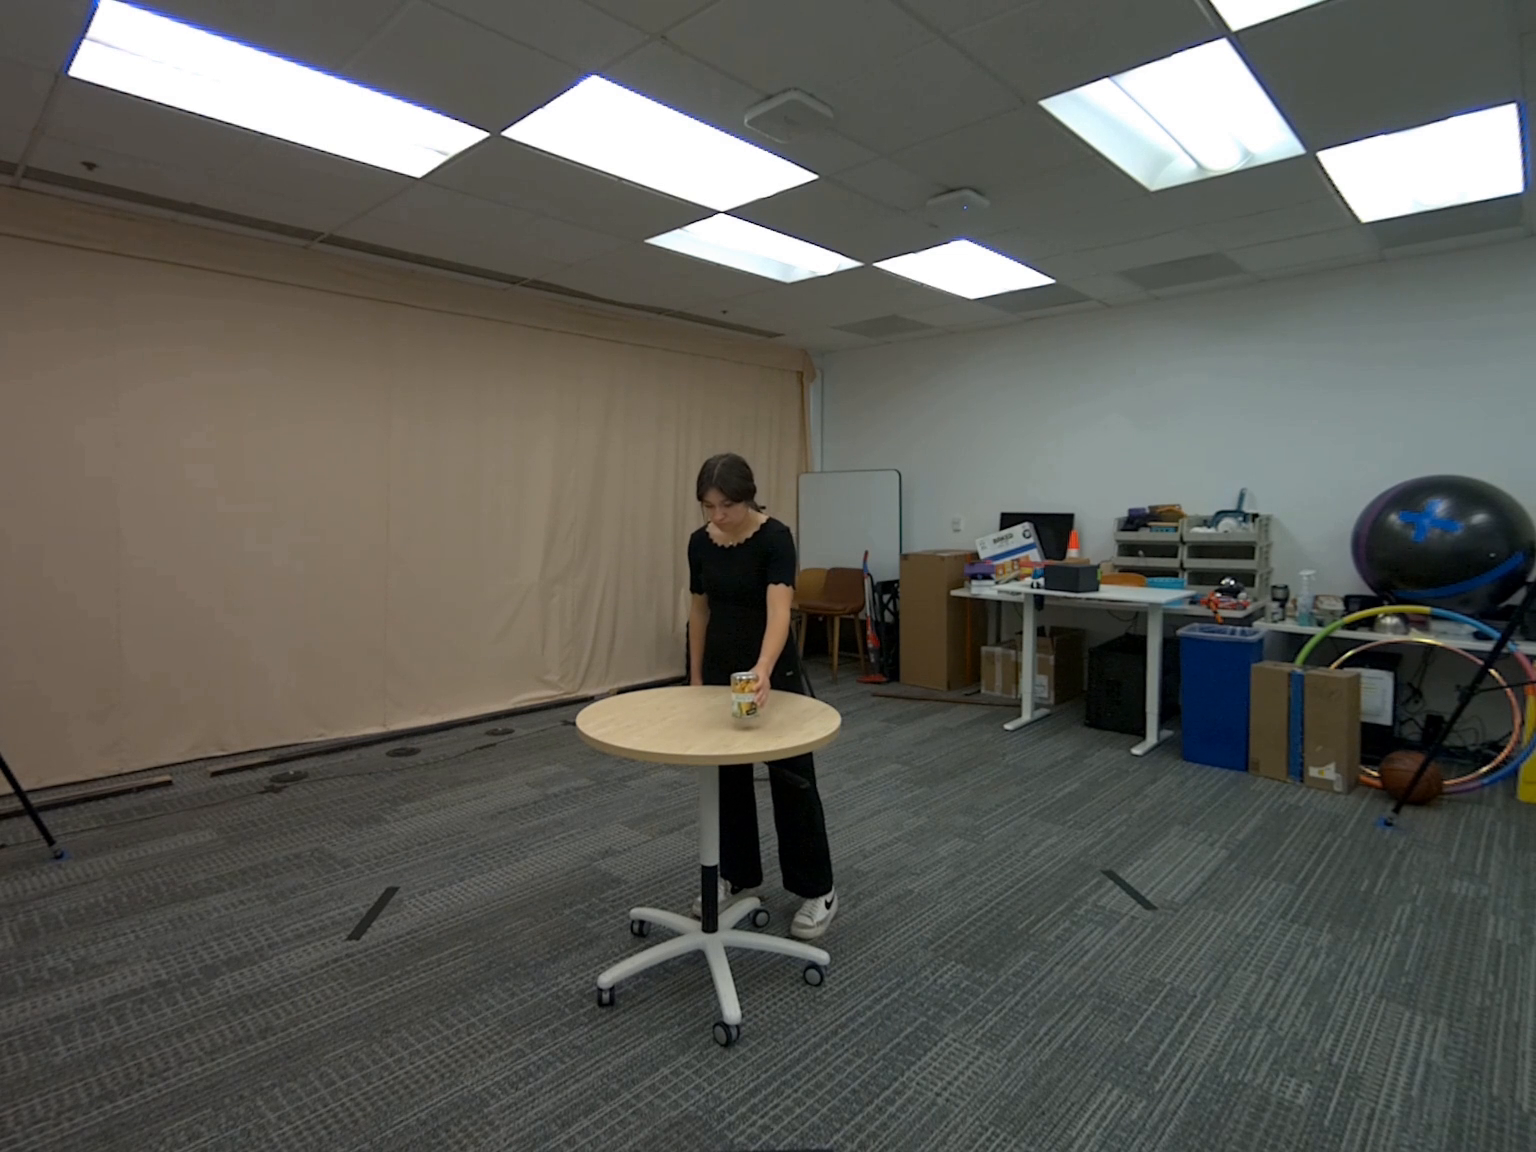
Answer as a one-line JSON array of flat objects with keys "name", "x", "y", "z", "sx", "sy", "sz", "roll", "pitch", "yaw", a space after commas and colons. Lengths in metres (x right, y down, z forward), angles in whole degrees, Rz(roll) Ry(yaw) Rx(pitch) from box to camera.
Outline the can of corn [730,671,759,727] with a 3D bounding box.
[{"name": "can of corn", "x": -0.065, "y": 0.325, "z": 2.308, "sx": 0.074, "sy": 0.111, "sz": 0.074, "roll": -2, "pitch": 1, "yaw": -2}]
